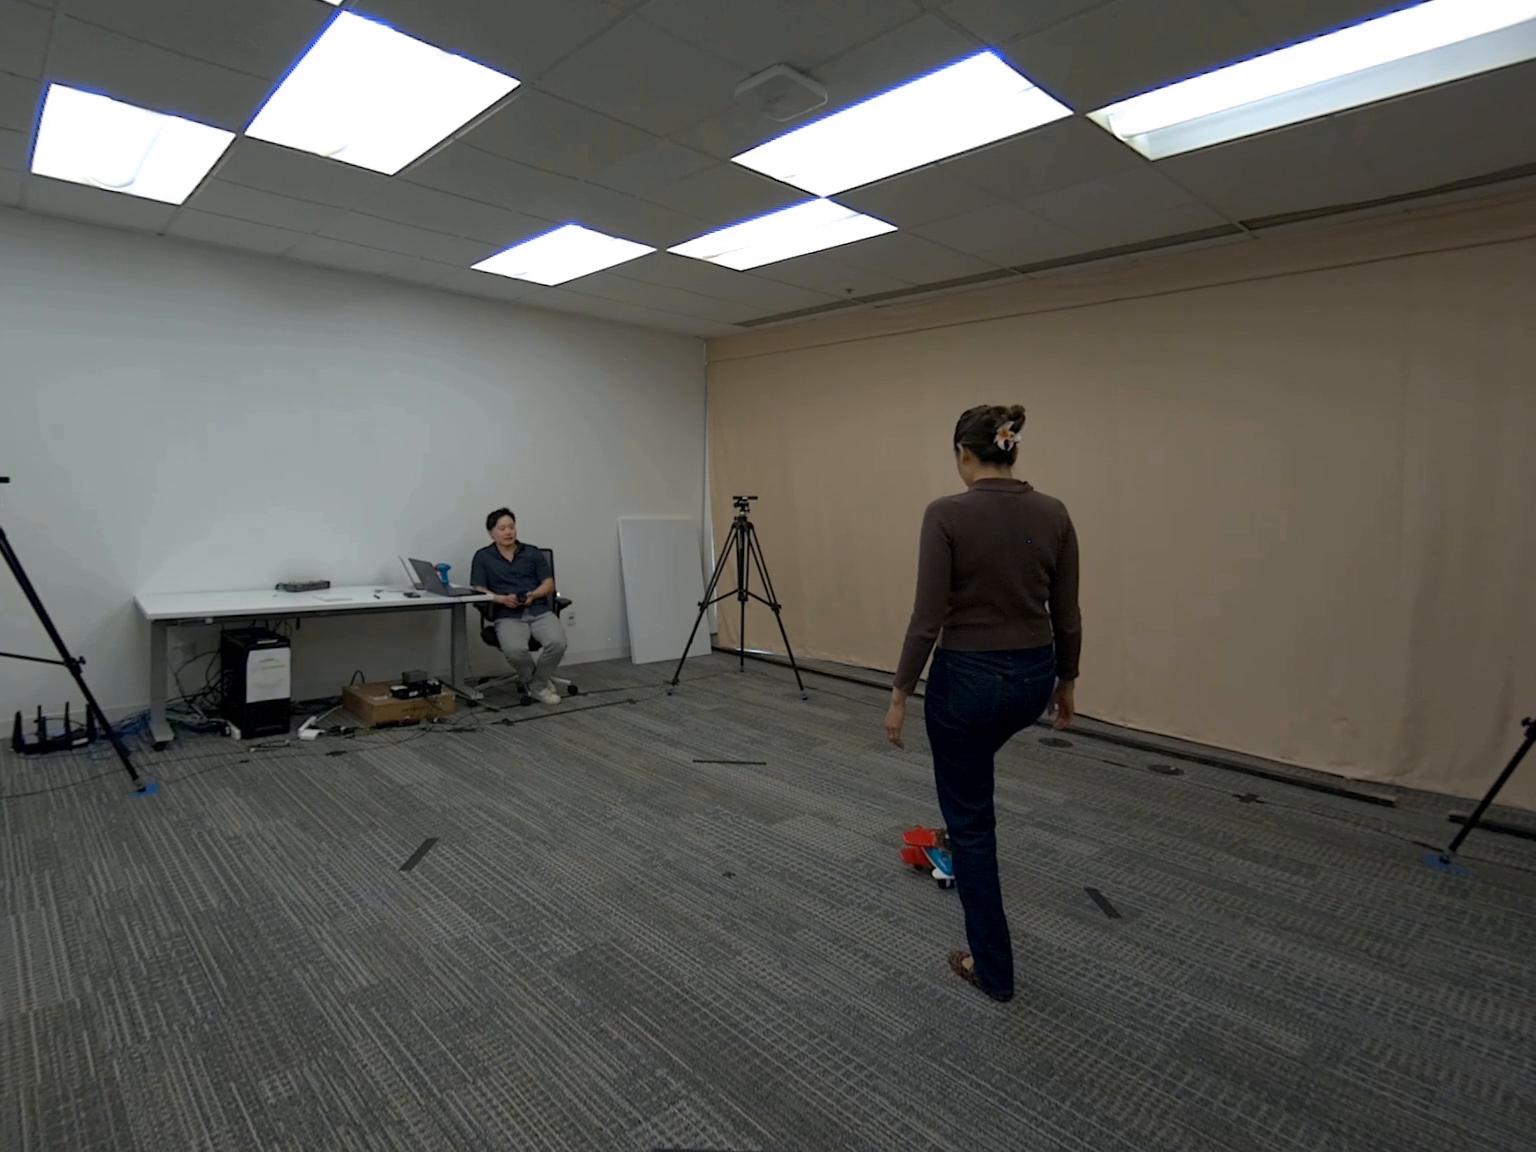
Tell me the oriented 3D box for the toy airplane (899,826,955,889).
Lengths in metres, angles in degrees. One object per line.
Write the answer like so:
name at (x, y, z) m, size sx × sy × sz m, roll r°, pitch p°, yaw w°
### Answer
toy airplane at (0.641, 1.048, 3.134) m, size 0.245 × 0.156 × 0.266 m, roll -1°, pitch 5°, yaw -38°
